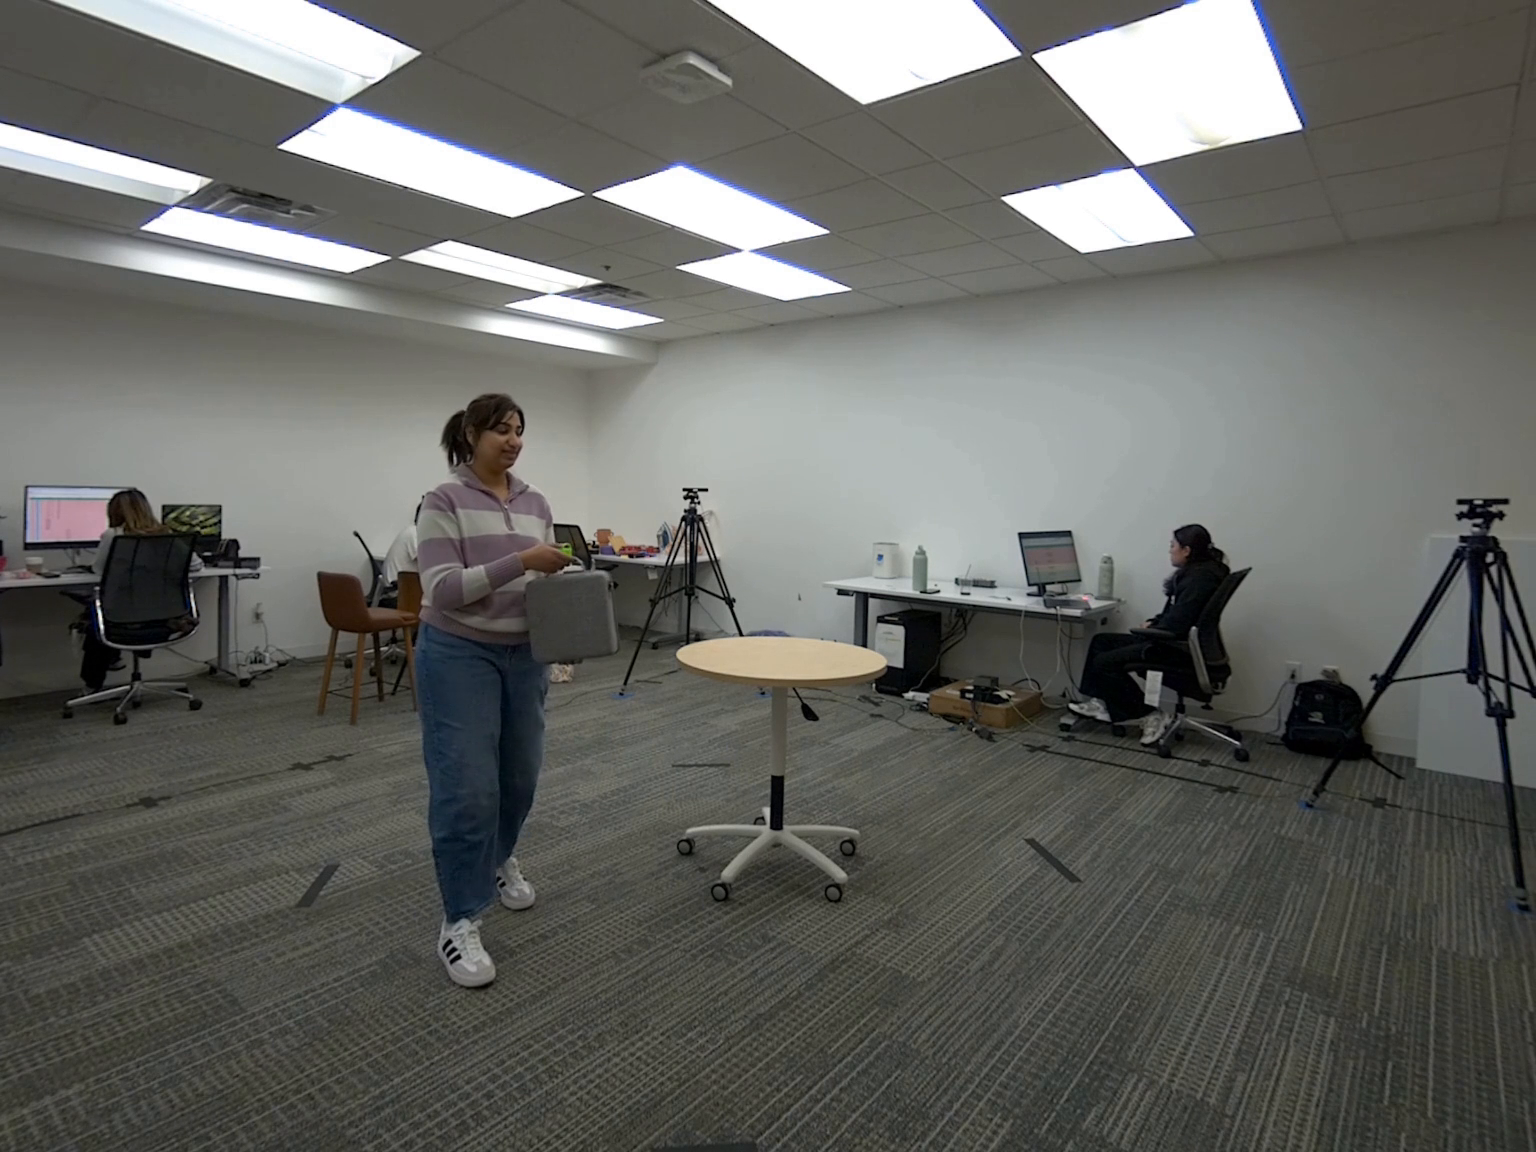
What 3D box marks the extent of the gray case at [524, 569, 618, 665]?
[{"bbox_3d":[-0.592,0.118,2.519,0.260,0.261,0.103,-8,-2,13],"label":"gray case"}]
